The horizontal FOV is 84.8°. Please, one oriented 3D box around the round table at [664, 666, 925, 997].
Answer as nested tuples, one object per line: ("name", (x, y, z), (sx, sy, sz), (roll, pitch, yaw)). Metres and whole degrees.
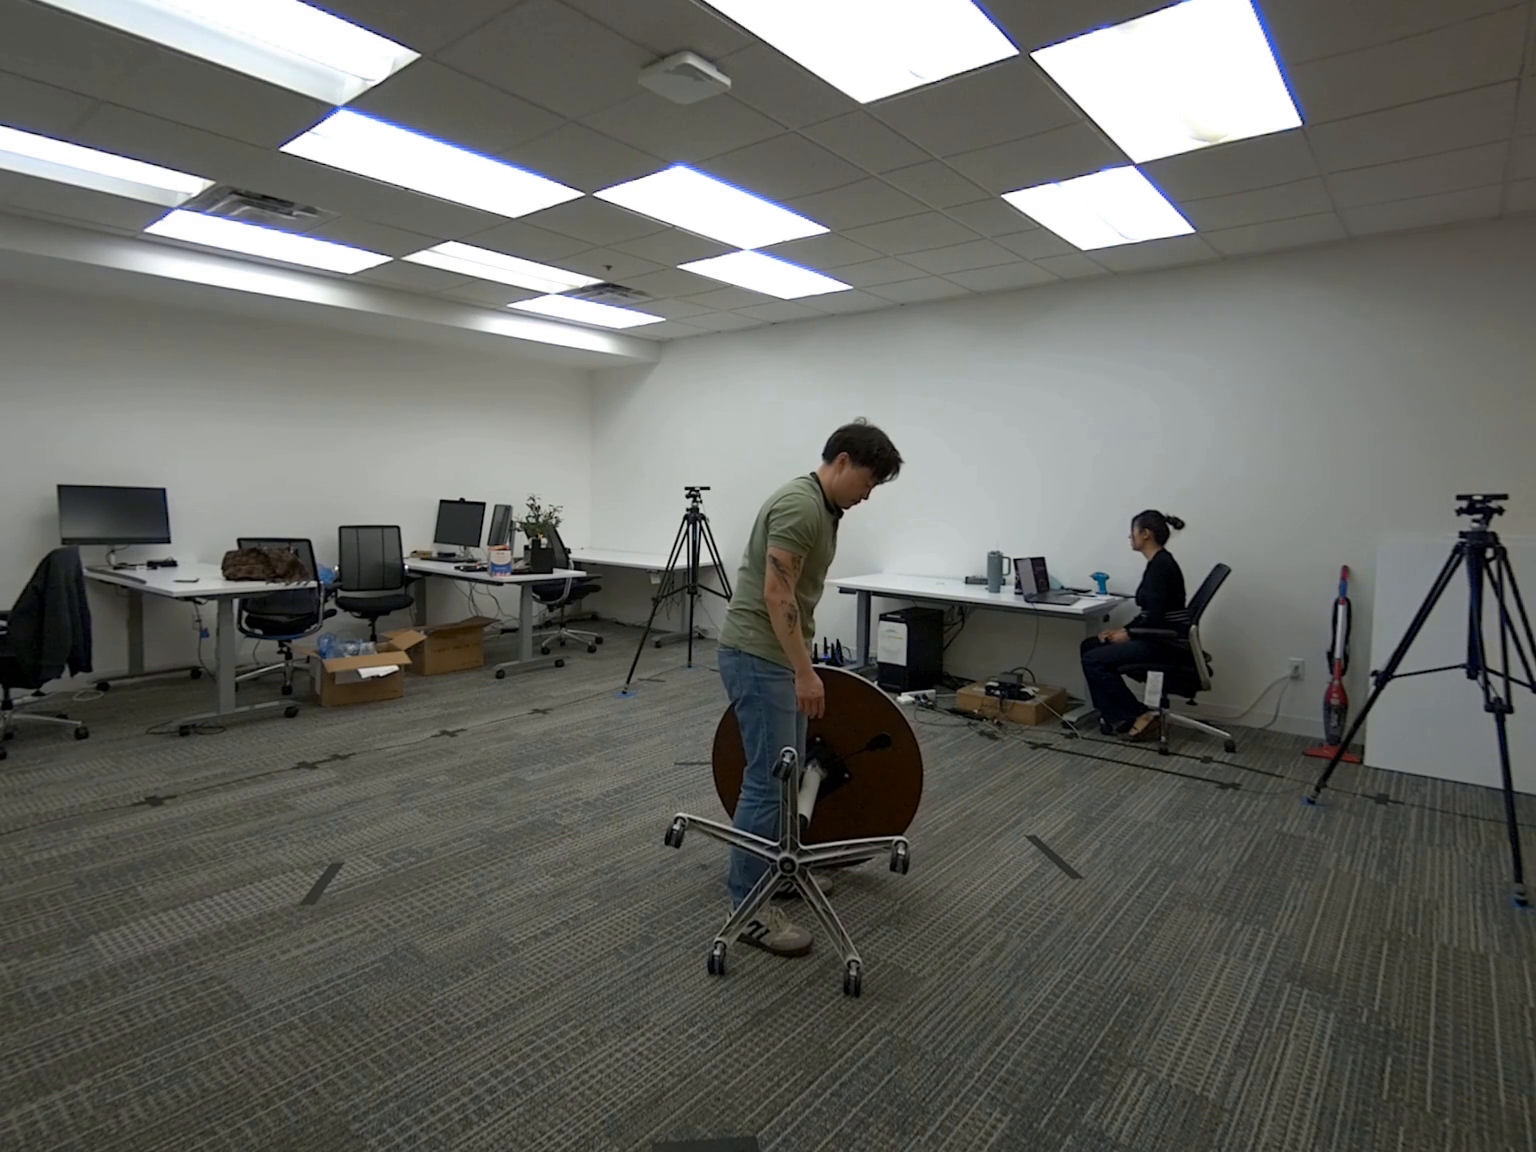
("round table", (0.112, 0.766, 2.708), (0.774, 0.757, 0.791), (1, 10, 11))
